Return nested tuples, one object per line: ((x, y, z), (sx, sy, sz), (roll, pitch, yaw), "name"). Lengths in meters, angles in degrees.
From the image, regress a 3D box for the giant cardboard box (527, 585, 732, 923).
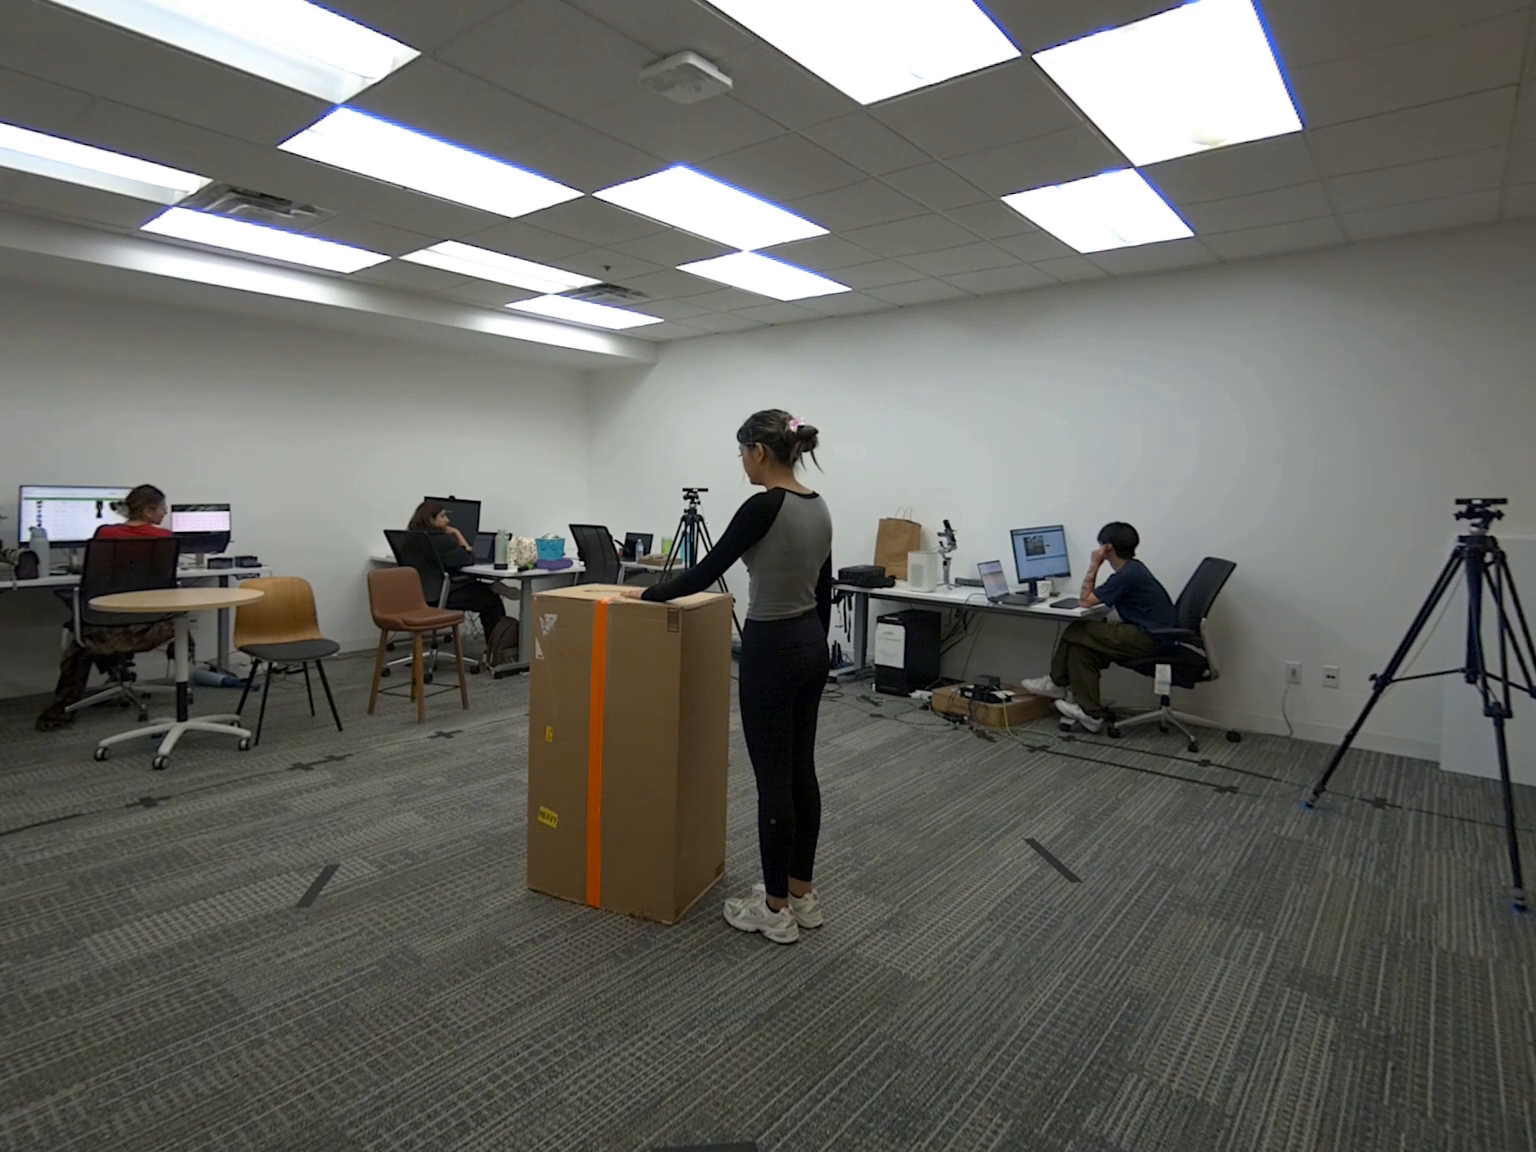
((-0.494, 0.572, 2.979), (0.598, 1.025, 0.437), (3, 2, 22), "giant cardboard box")
